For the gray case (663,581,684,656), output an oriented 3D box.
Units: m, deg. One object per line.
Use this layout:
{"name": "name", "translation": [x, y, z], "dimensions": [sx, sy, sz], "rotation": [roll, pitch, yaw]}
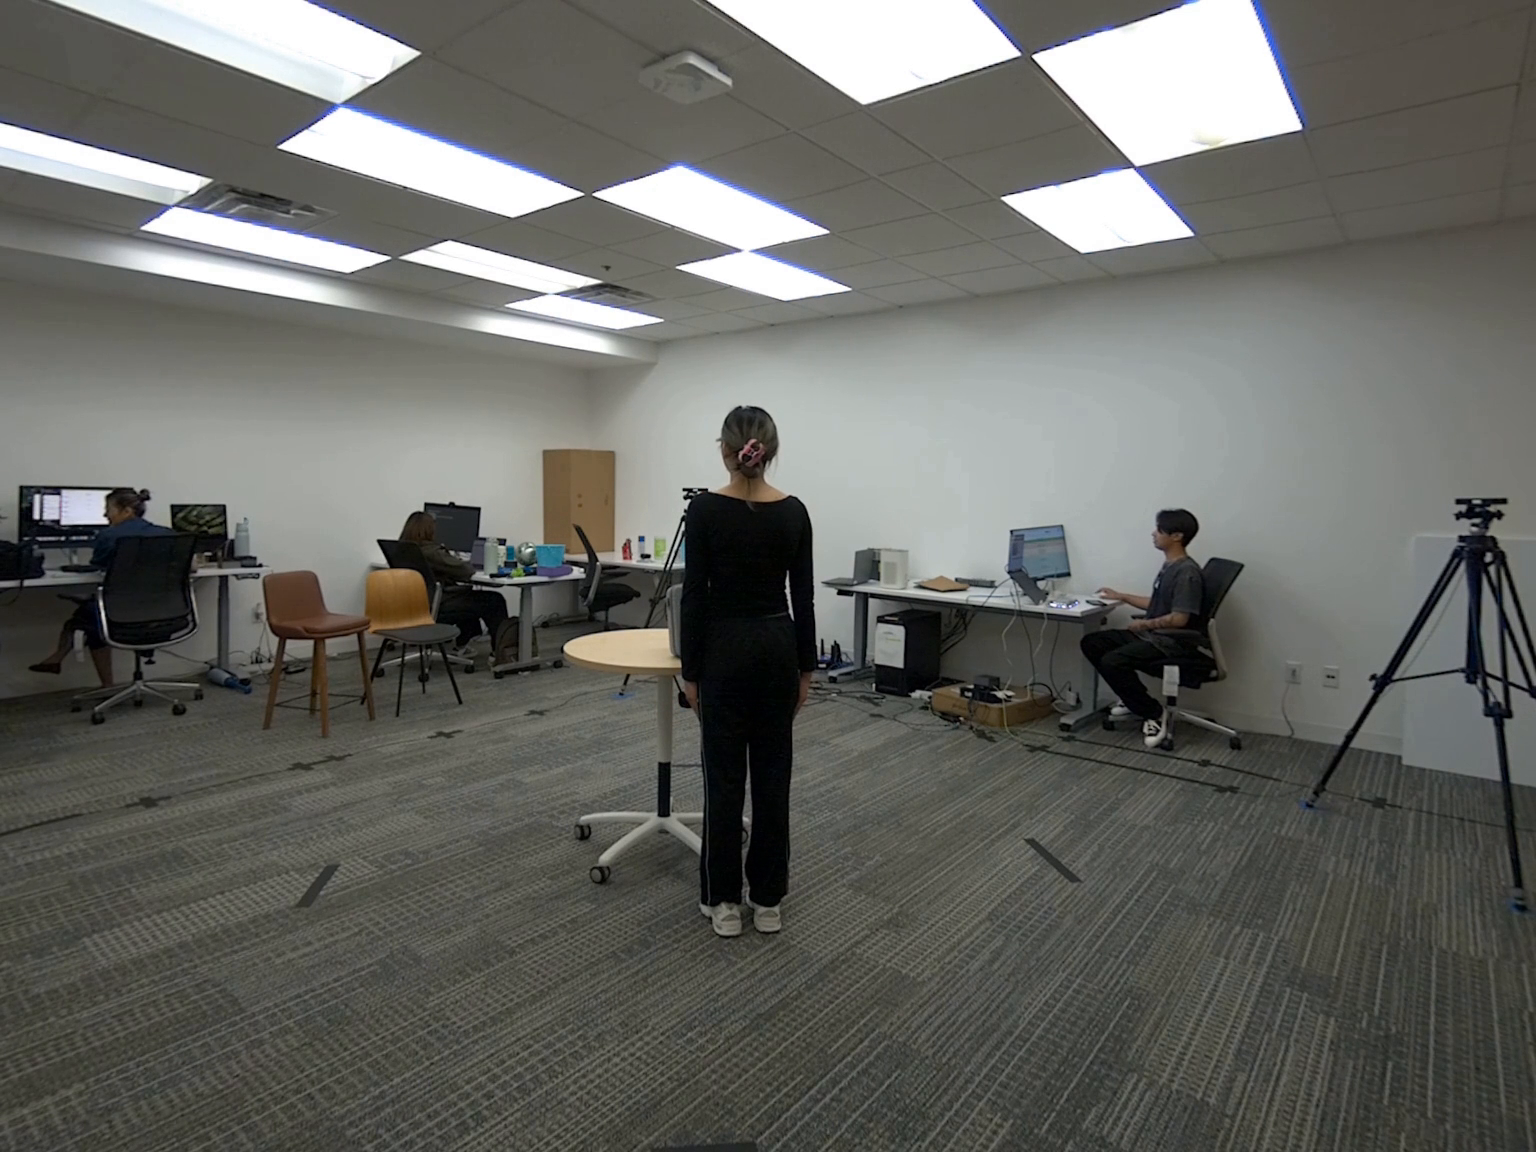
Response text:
{"name": "gray case", "translation": [-0.239, 0.150, 3.059], "dimensions": [0.251, 0.263, 0.106], "rotation": [0, -9, -22]}
